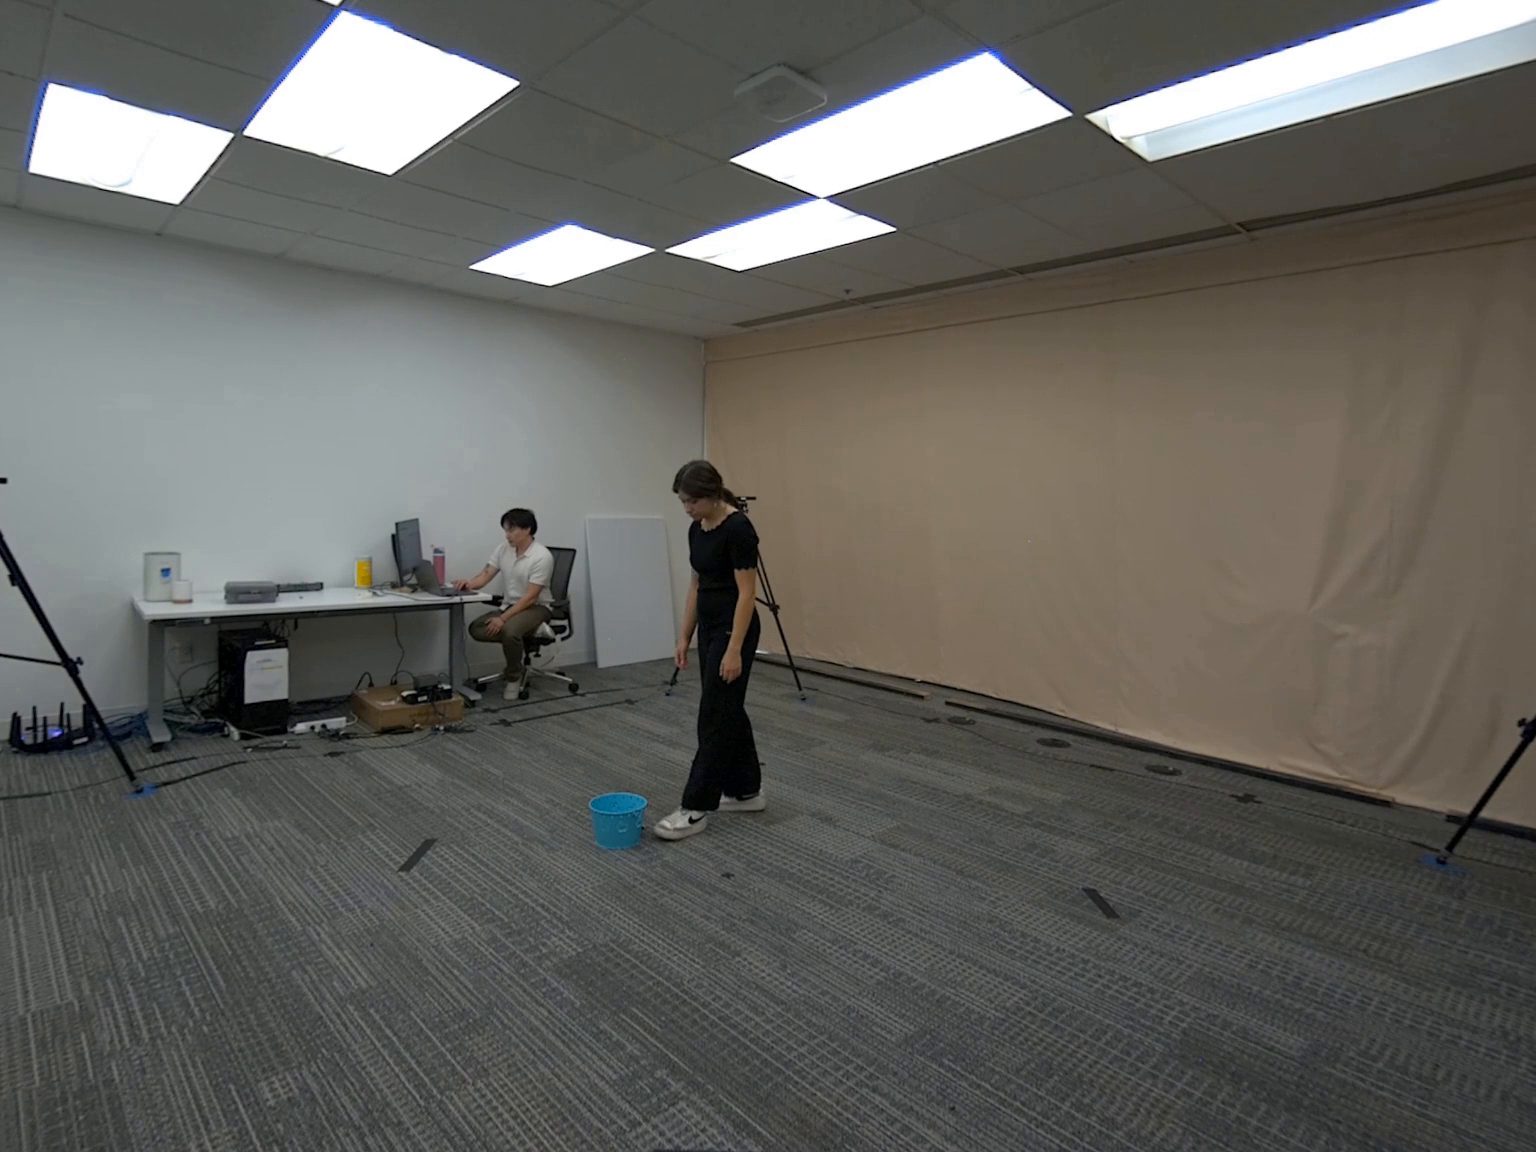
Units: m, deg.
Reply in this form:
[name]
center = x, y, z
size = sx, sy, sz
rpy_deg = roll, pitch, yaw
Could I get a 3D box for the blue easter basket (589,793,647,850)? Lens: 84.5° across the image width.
[blue easter basket]
center = -0.608, 0.990, 3.398
size = 0.243, 0.155, 0.244
rpy_deg = 1, 4, -1
